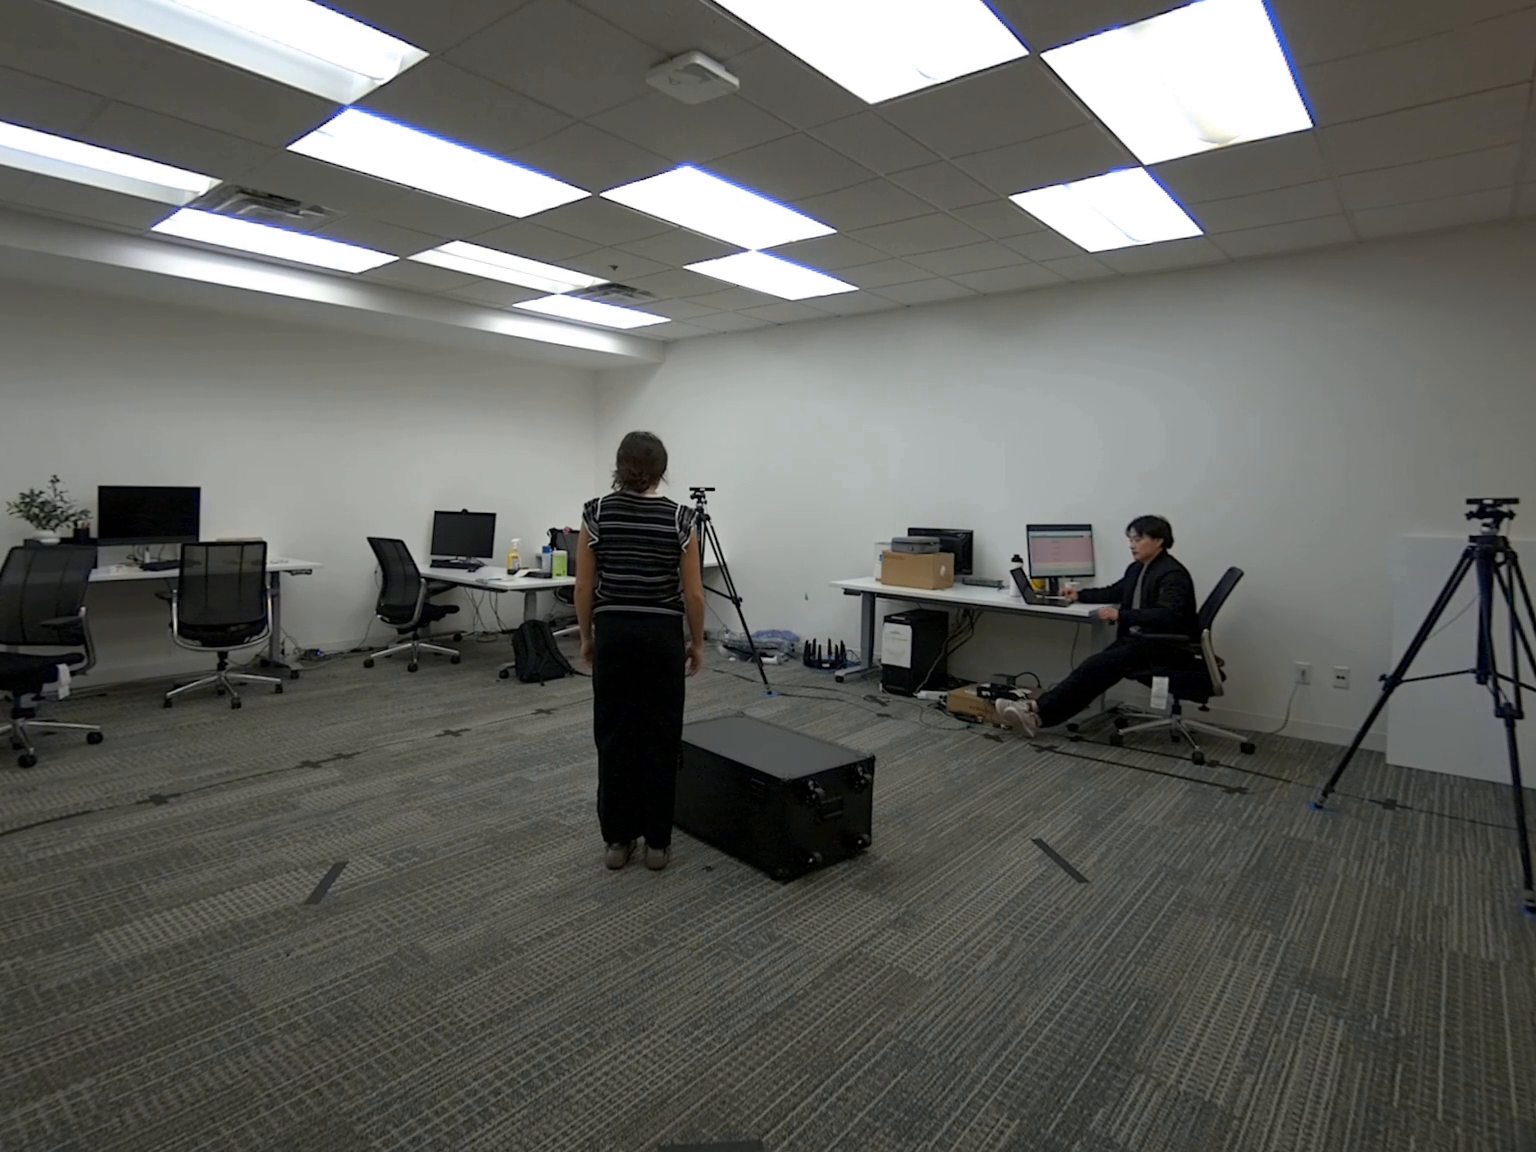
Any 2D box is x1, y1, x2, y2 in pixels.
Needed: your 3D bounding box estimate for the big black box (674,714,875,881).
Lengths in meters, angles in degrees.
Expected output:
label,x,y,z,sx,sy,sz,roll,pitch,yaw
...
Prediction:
label,x,y,z,sx,sy,sz,roll,pitch,yaw
big black box,-0.022,0.853,3.398,0.505,0.395,0.891,-3,6,-42
